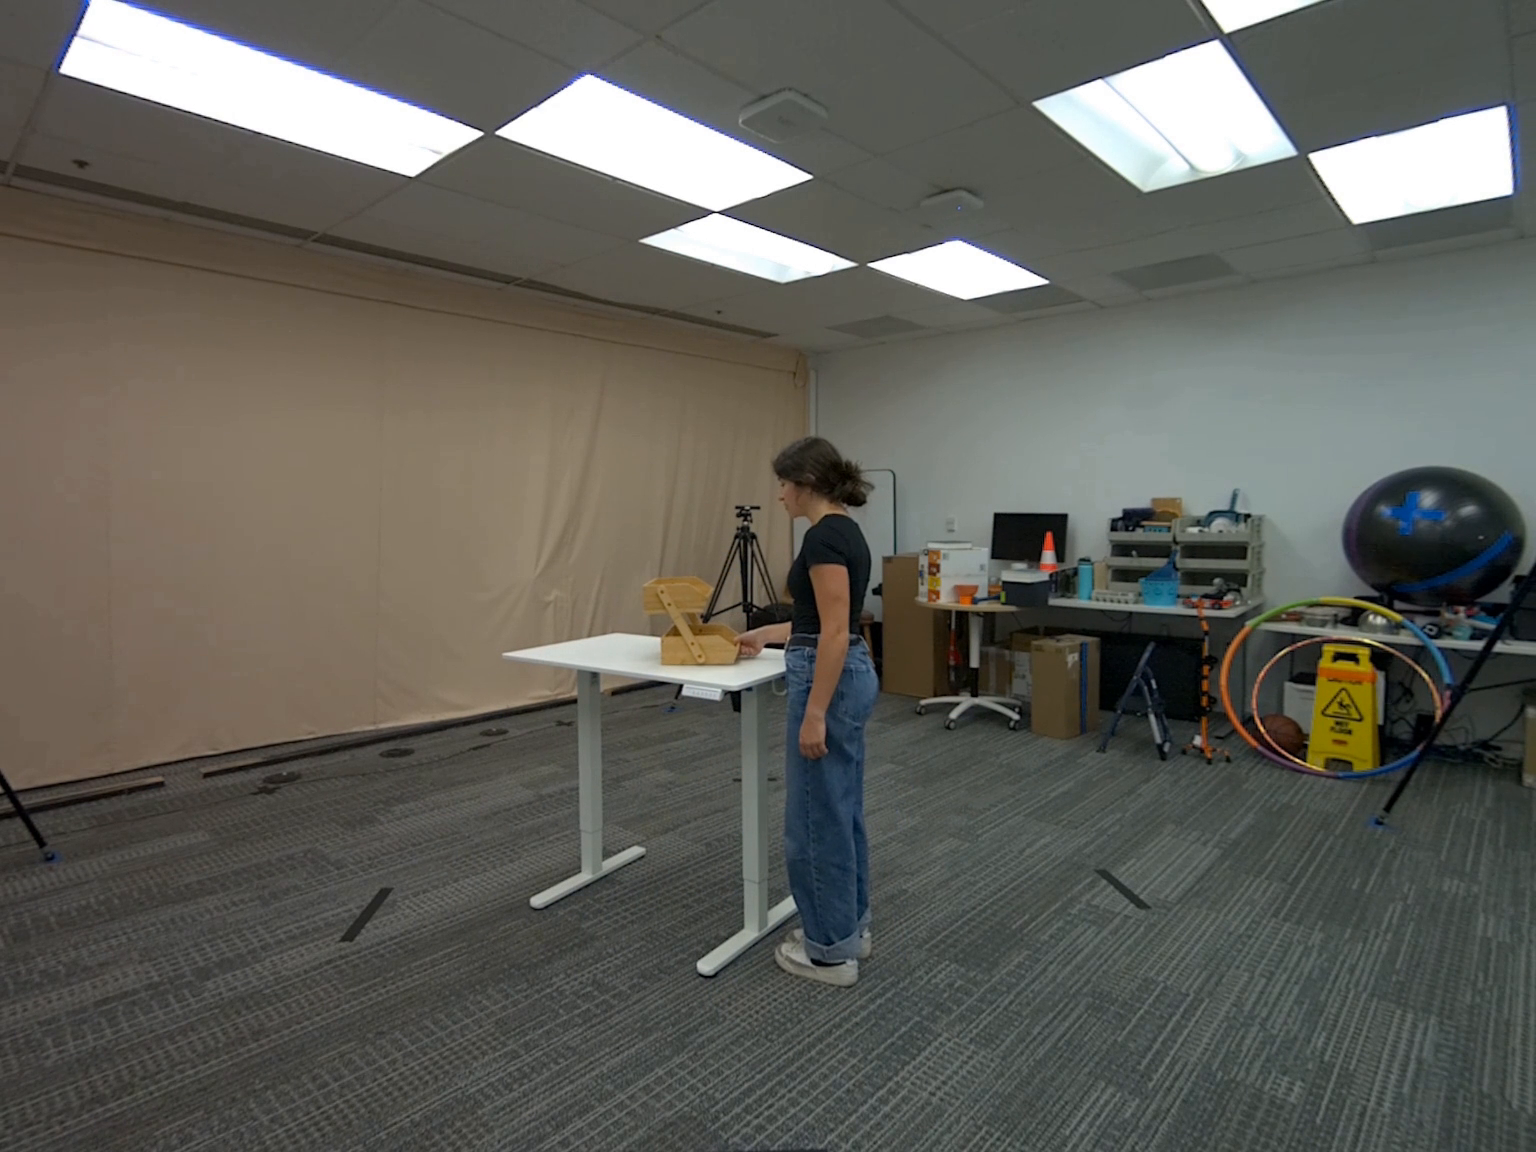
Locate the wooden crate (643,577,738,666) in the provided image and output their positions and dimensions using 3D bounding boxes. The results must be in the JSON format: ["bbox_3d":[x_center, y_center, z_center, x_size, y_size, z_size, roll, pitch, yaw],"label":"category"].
[{"bbox_3d":[-0.245,0.146,2.833,0.303,0.273,0.324,-1,3,1],"label":"wooden crate"}]
